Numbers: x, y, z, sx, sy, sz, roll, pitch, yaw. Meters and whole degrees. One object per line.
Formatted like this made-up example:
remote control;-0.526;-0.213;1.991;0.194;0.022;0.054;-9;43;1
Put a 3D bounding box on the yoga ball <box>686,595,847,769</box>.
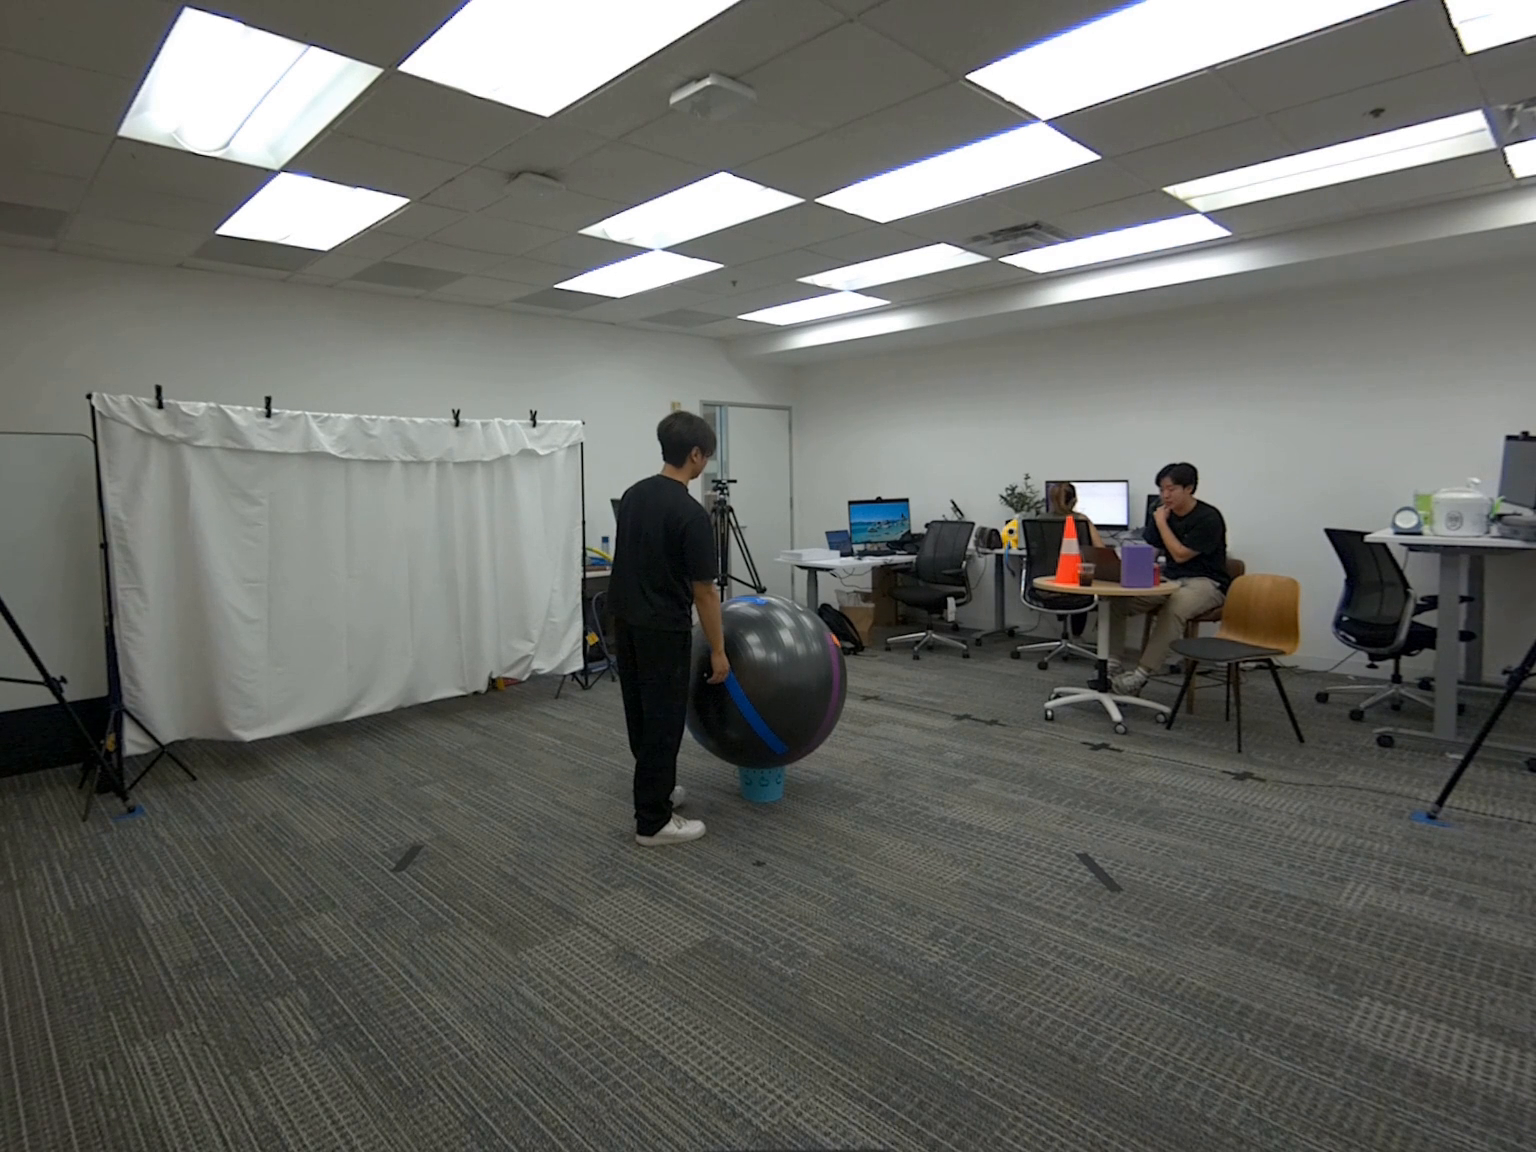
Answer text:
yoga ball;-0.023;0.465;3.781;0.757;0.755;0.762;-1;5;-2
